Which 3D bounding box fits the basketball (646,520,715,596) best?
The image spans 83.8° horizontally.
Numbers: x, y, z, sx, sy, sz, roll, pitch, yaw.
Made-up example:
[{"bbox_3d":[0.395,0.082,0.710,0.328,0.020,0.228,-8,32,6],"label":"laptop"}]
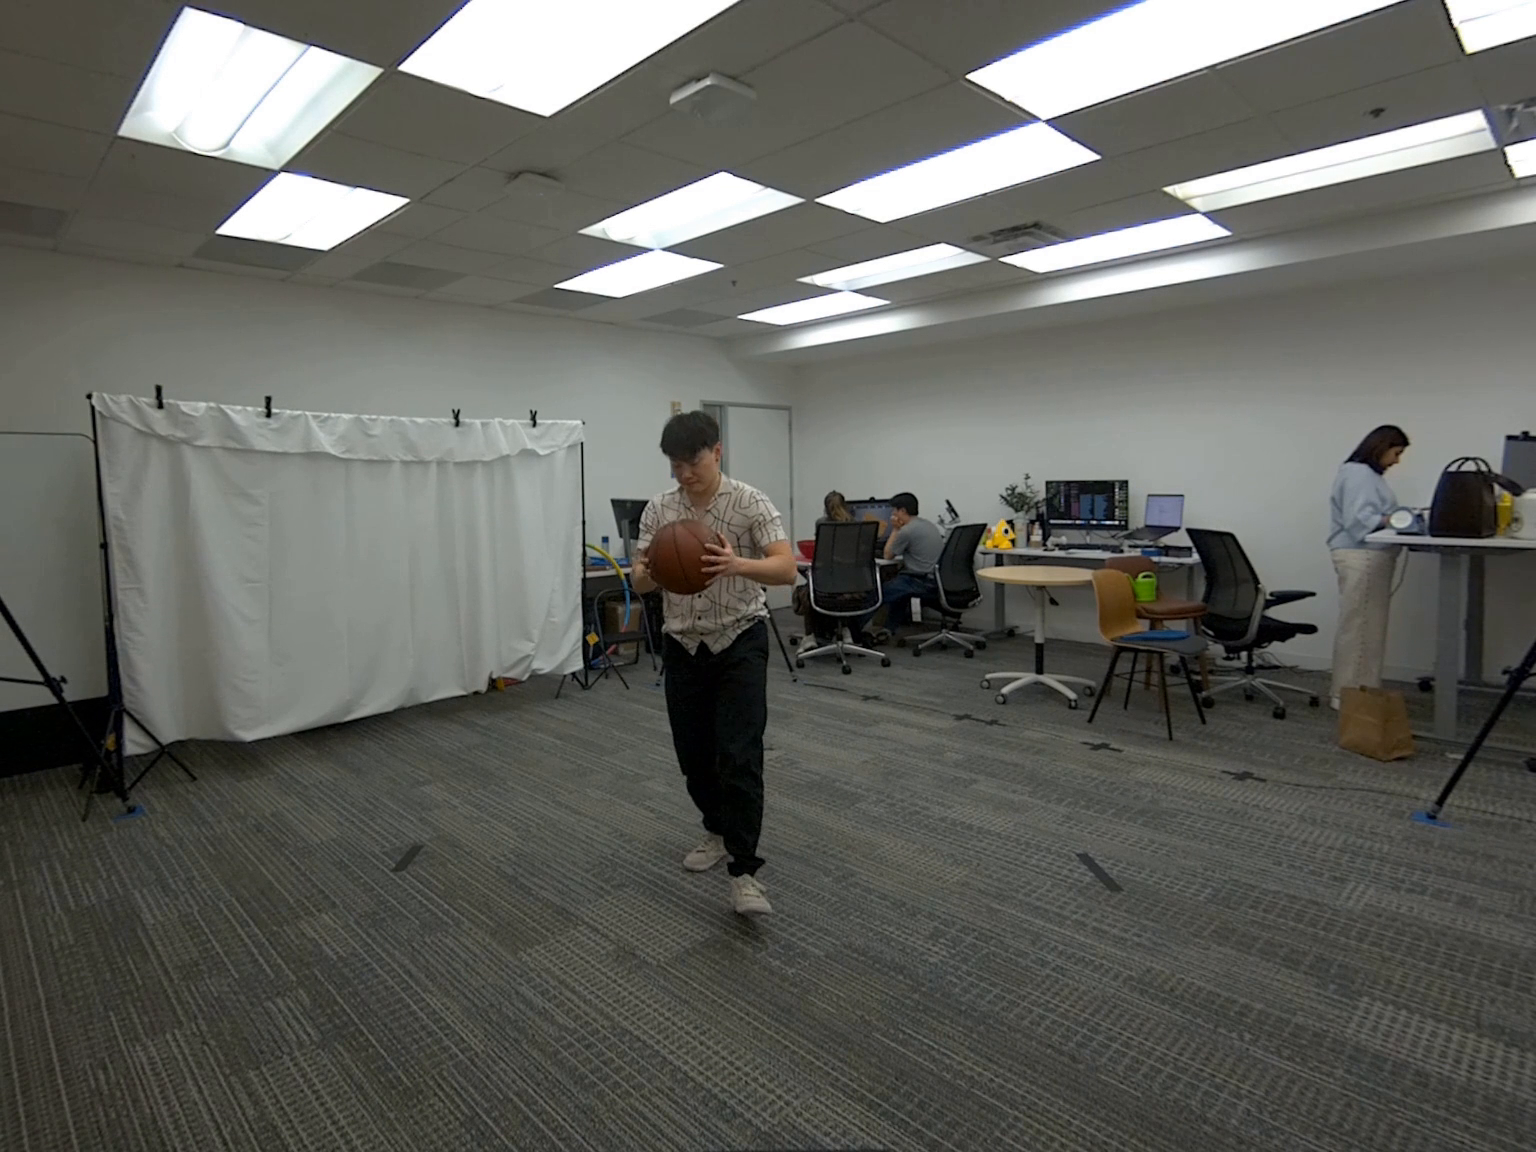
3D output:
[{"bbox_3d":[-0.253,-0.042,2.653,0.236,0.235,0.237,-1,5,-2],"label":"basketball"}]
